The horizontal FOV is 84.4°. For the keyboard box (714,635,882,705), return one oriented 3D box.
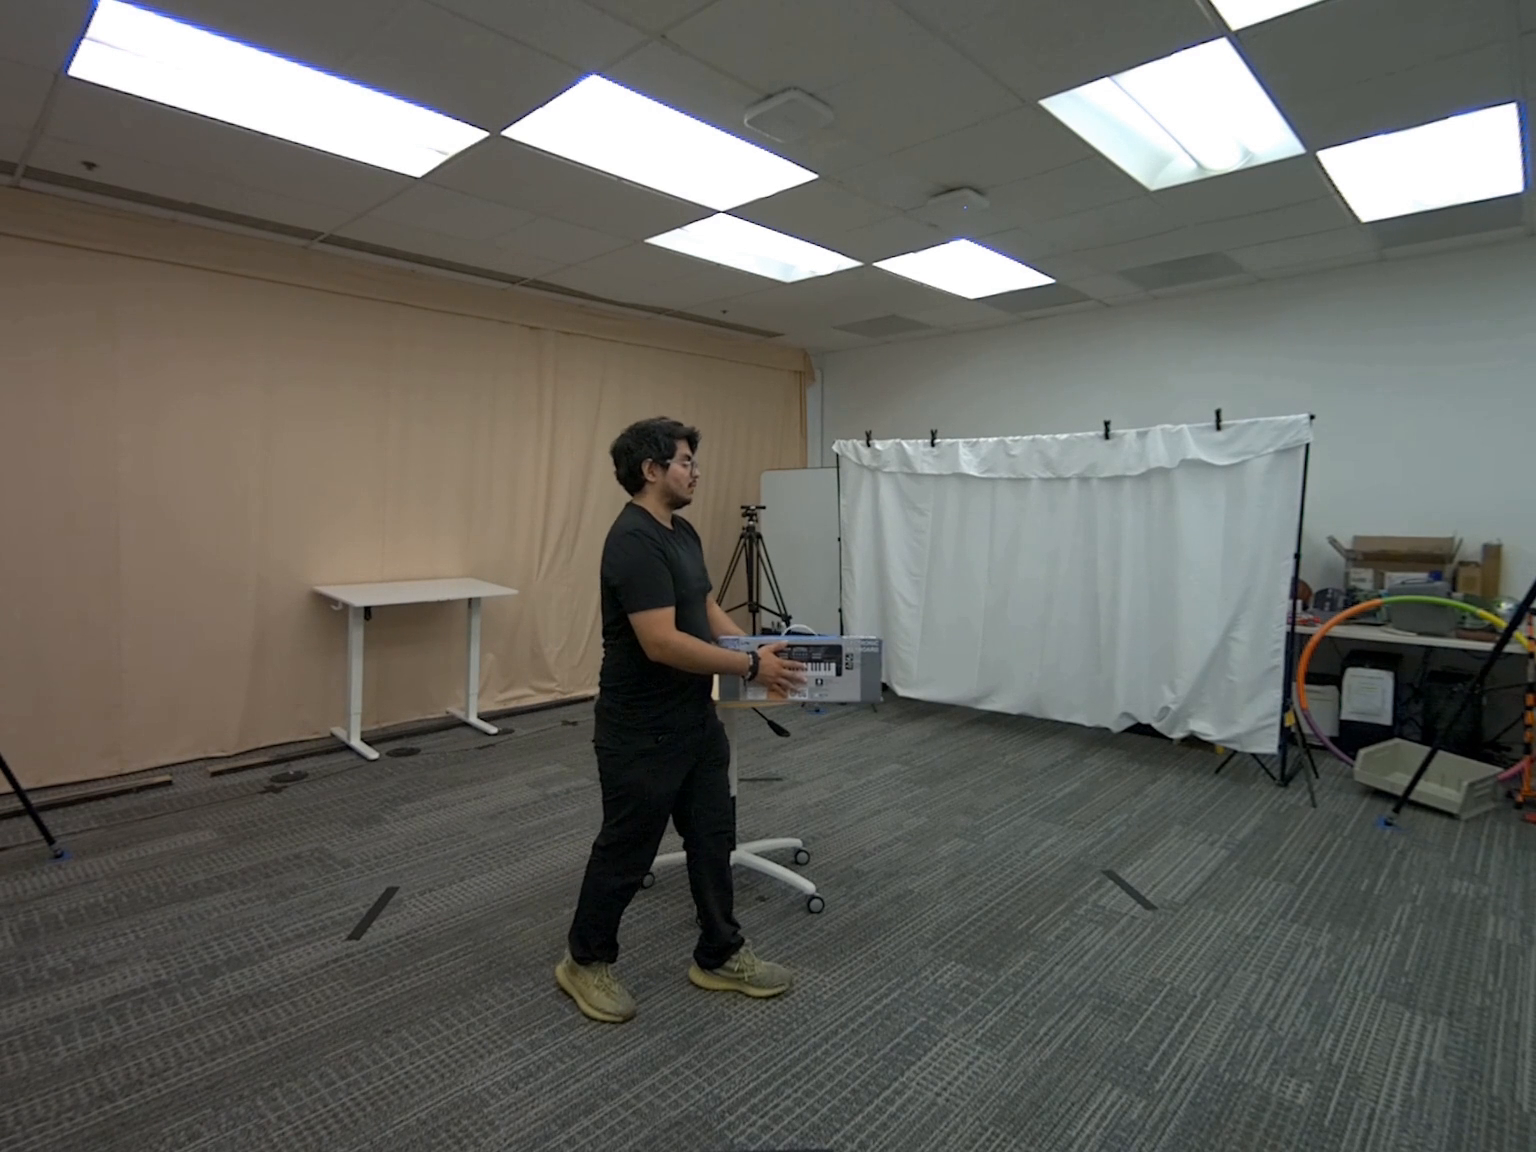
[{"bbox_3d":[0.086,0.250,2.282,0.437,0.176,0.059,0,1,1],"label":"keyboard box"}]
